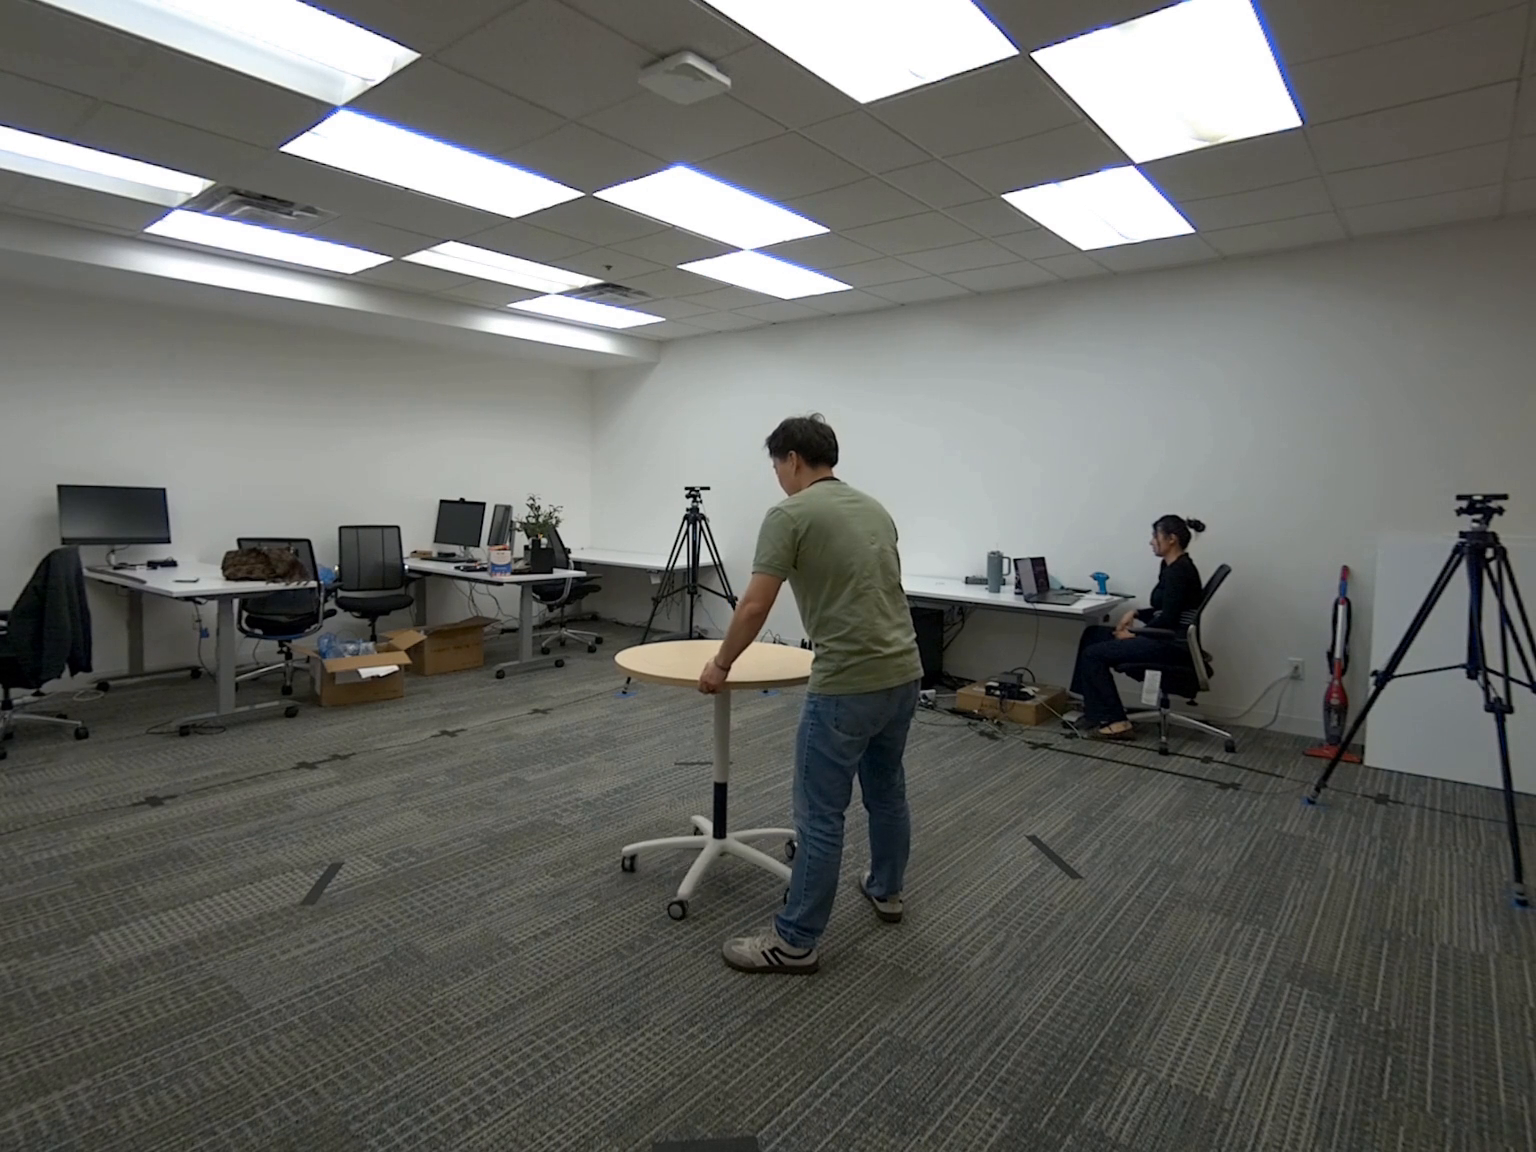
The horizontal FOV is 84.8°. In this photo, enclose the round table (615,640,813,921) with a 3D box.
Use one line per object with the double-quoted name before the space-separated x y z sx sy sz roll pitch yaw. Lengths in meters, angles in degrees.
"round table" -0.176 0.681 3.037 0.763 0.791 0.768 1 4 -2
